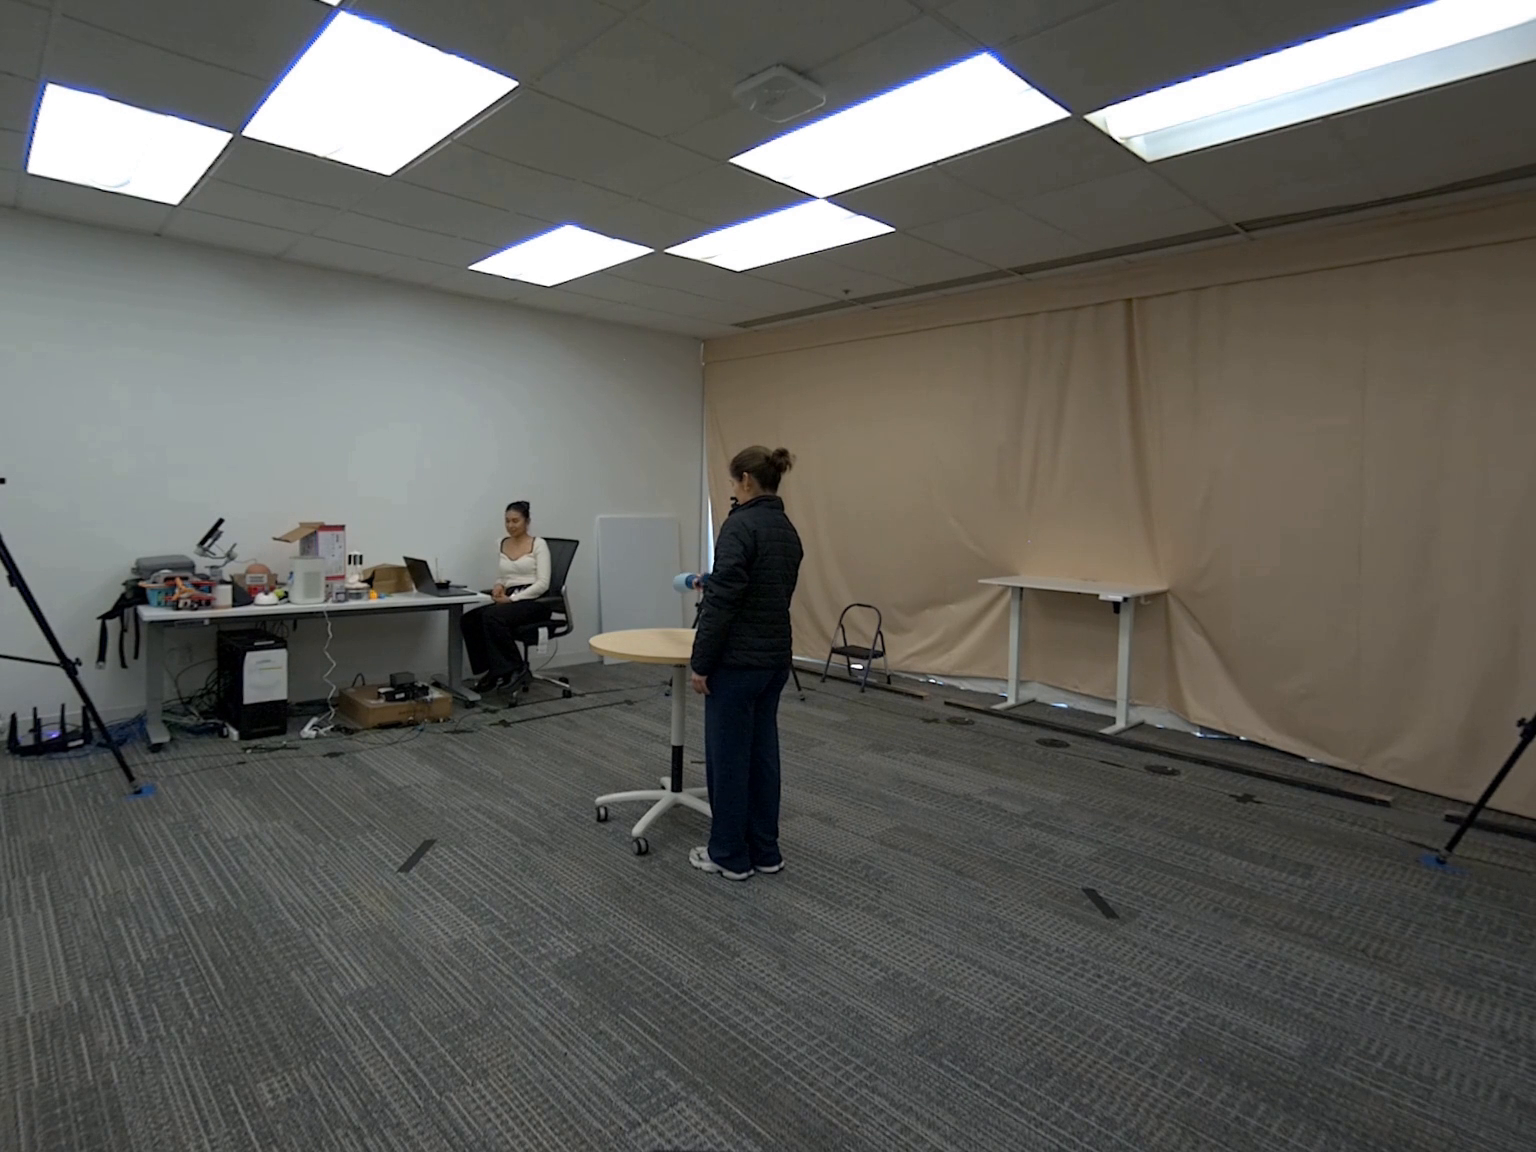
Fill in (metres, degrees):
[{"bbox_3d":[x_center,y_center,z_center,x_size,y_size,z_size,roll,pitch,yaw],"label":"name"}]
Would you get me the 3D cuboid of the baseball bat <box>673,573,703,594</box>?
[{"bbox_3d":[-0.321,0.019,3.622,0.088,0.089,0.548,0,-2,-16],"label":"baseball bat"}]
